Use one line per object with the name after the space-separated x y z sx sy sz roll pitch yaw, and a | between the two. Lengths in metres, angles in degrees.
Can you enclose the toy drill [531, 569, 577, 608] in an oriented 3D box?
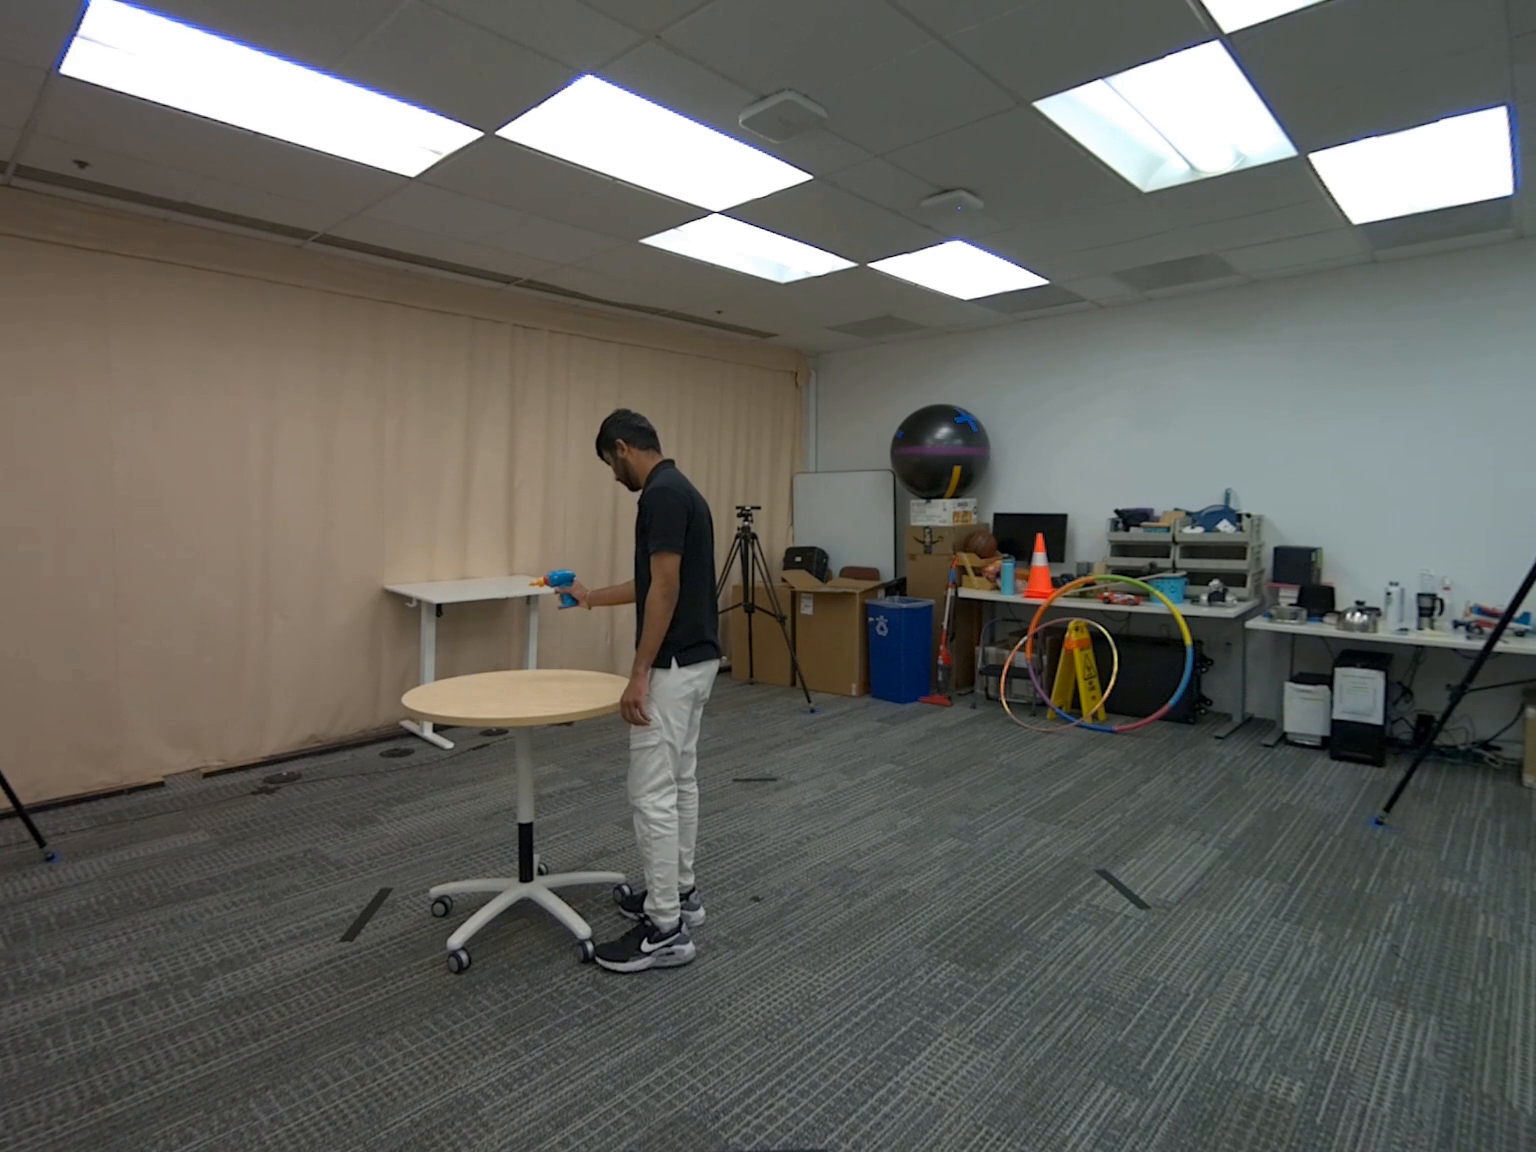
-0.772 0.053 3.058 0.167 0.146 0.062 -13 1 -14 | toy drill
